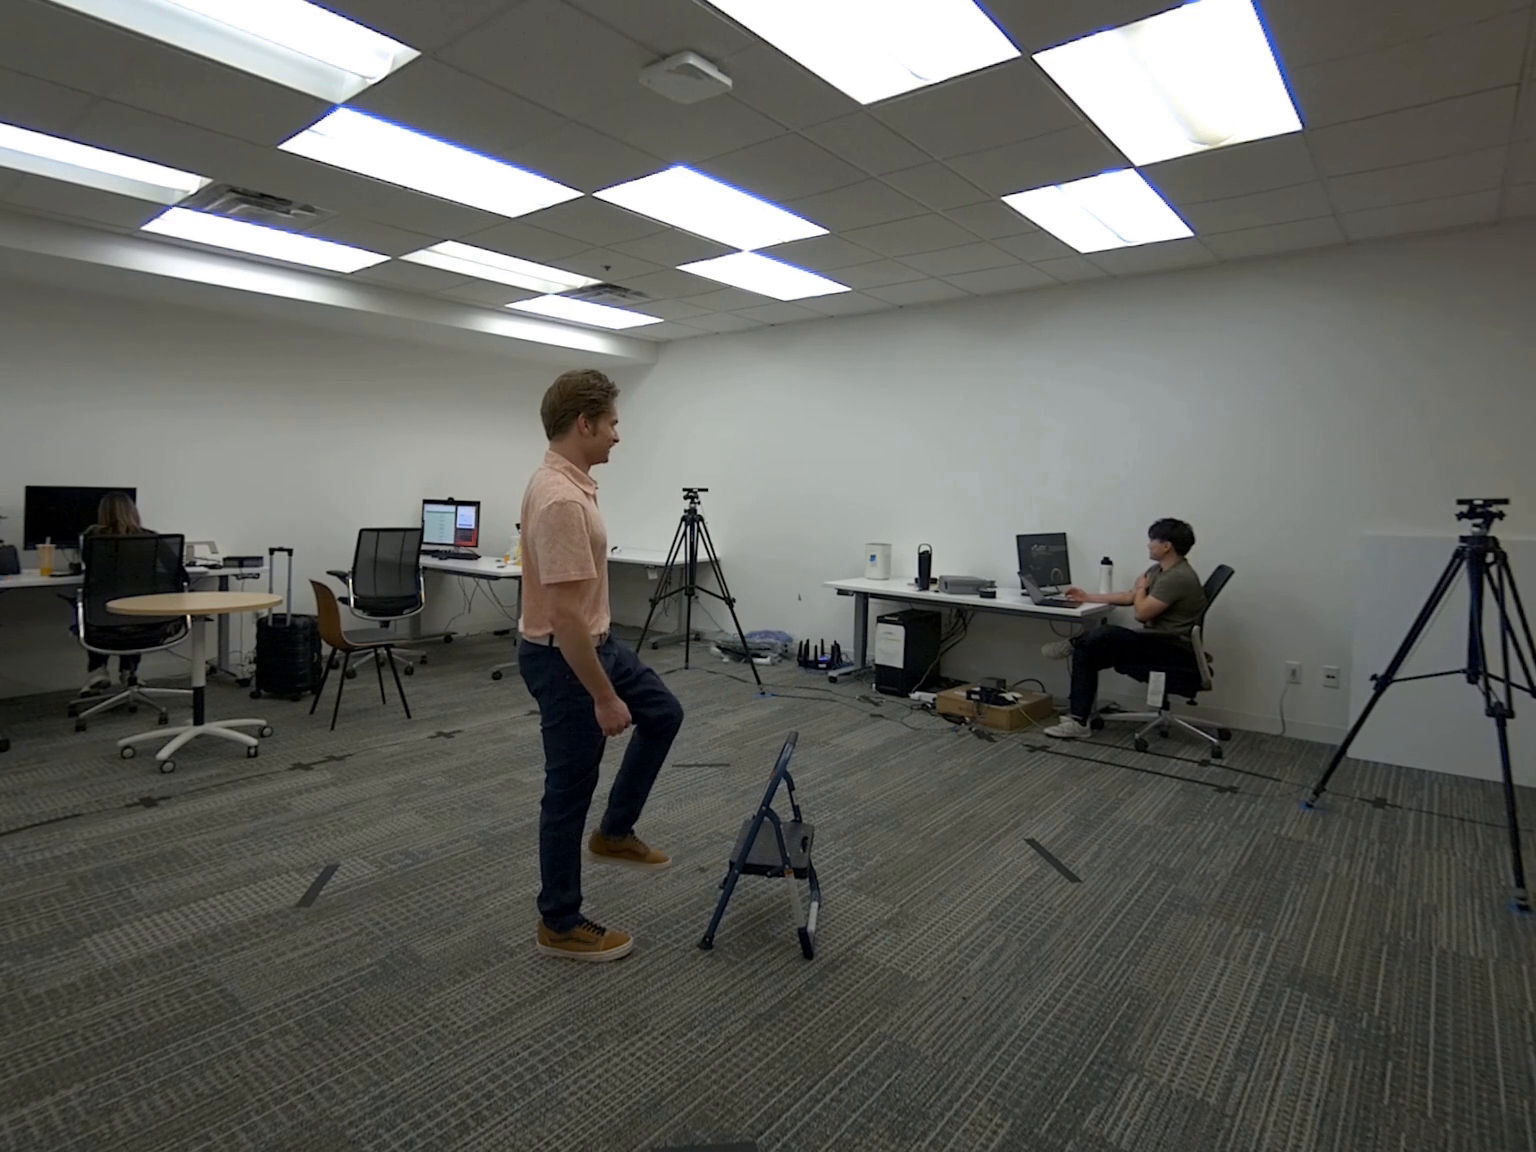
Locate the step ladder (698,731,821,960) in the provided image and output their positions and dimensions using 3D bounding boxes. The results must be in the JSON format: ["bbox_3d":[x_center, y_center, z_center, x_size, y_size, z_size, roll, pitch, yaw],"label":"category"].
[{"bbox_3d":[-0.014,0.809,2.733,0.353,0.604,0.428,2,3,8],"label":"step ladder"}]
